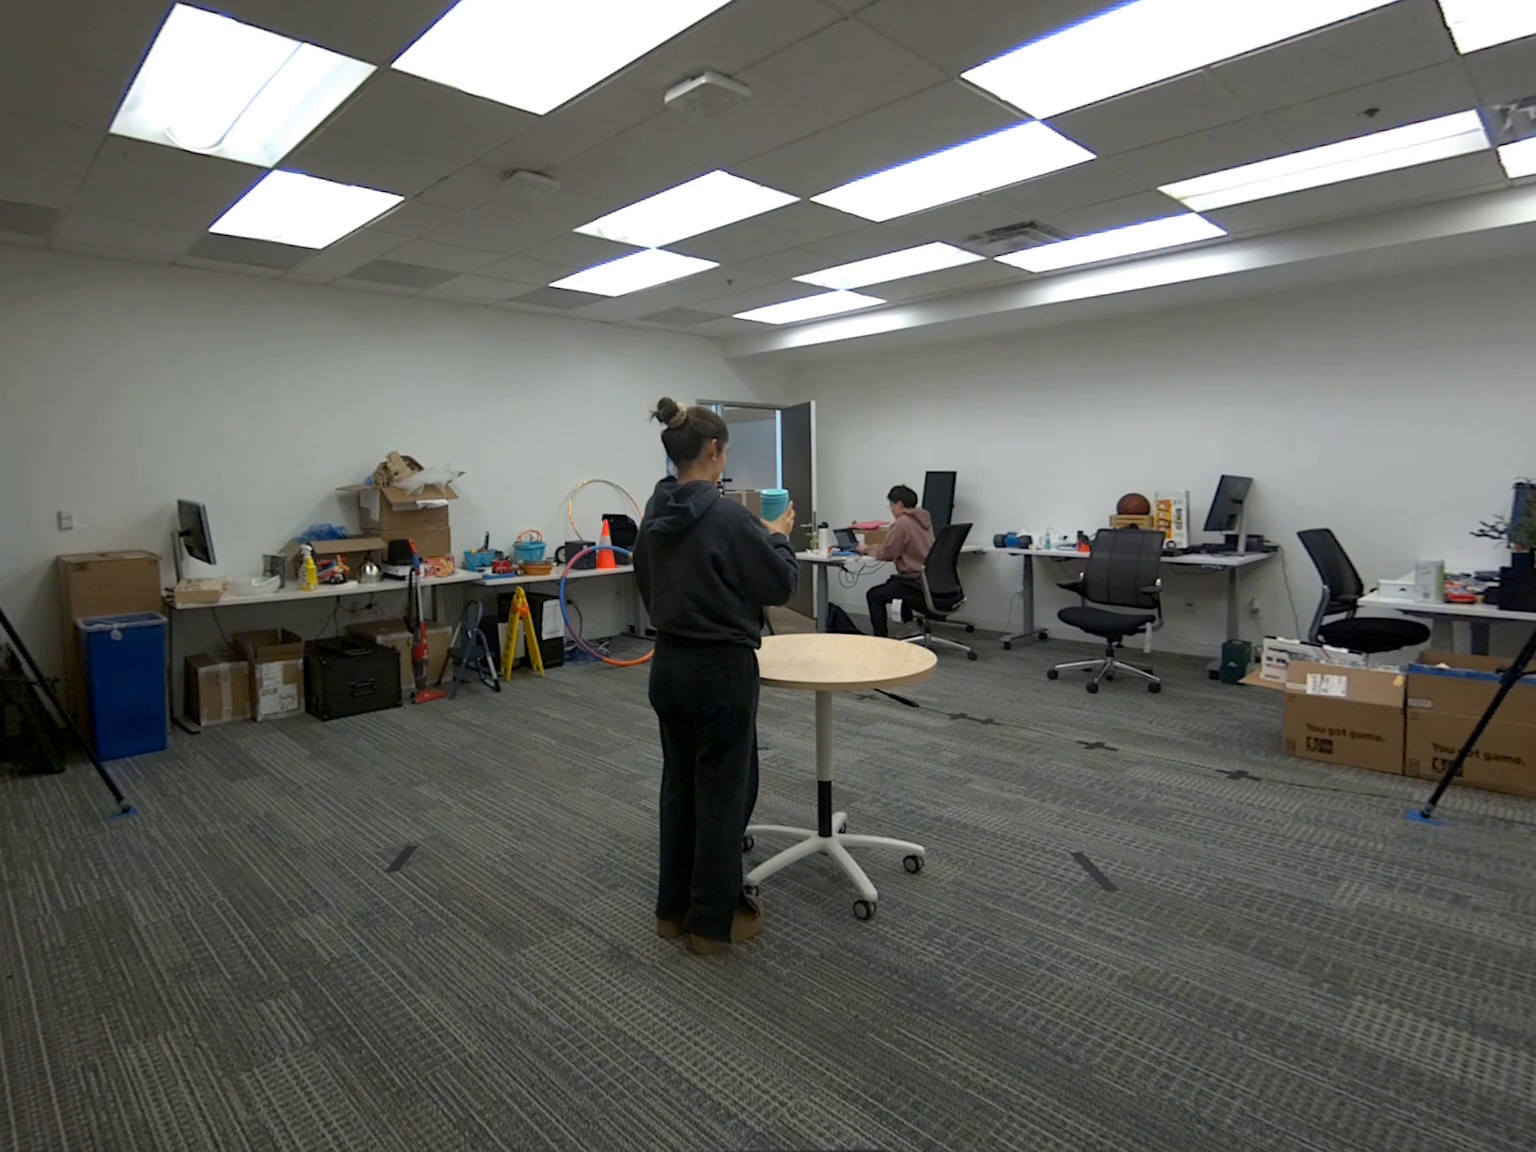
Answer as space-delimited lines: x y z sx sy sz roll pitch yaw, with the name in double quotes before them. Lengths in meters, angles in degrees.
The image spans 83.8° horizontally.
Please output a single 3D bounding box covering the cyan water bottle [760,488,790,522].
"cyan water bottle" 0.014 -0.131 2.746 0.092 0.282 0.093 -1 5 -2
